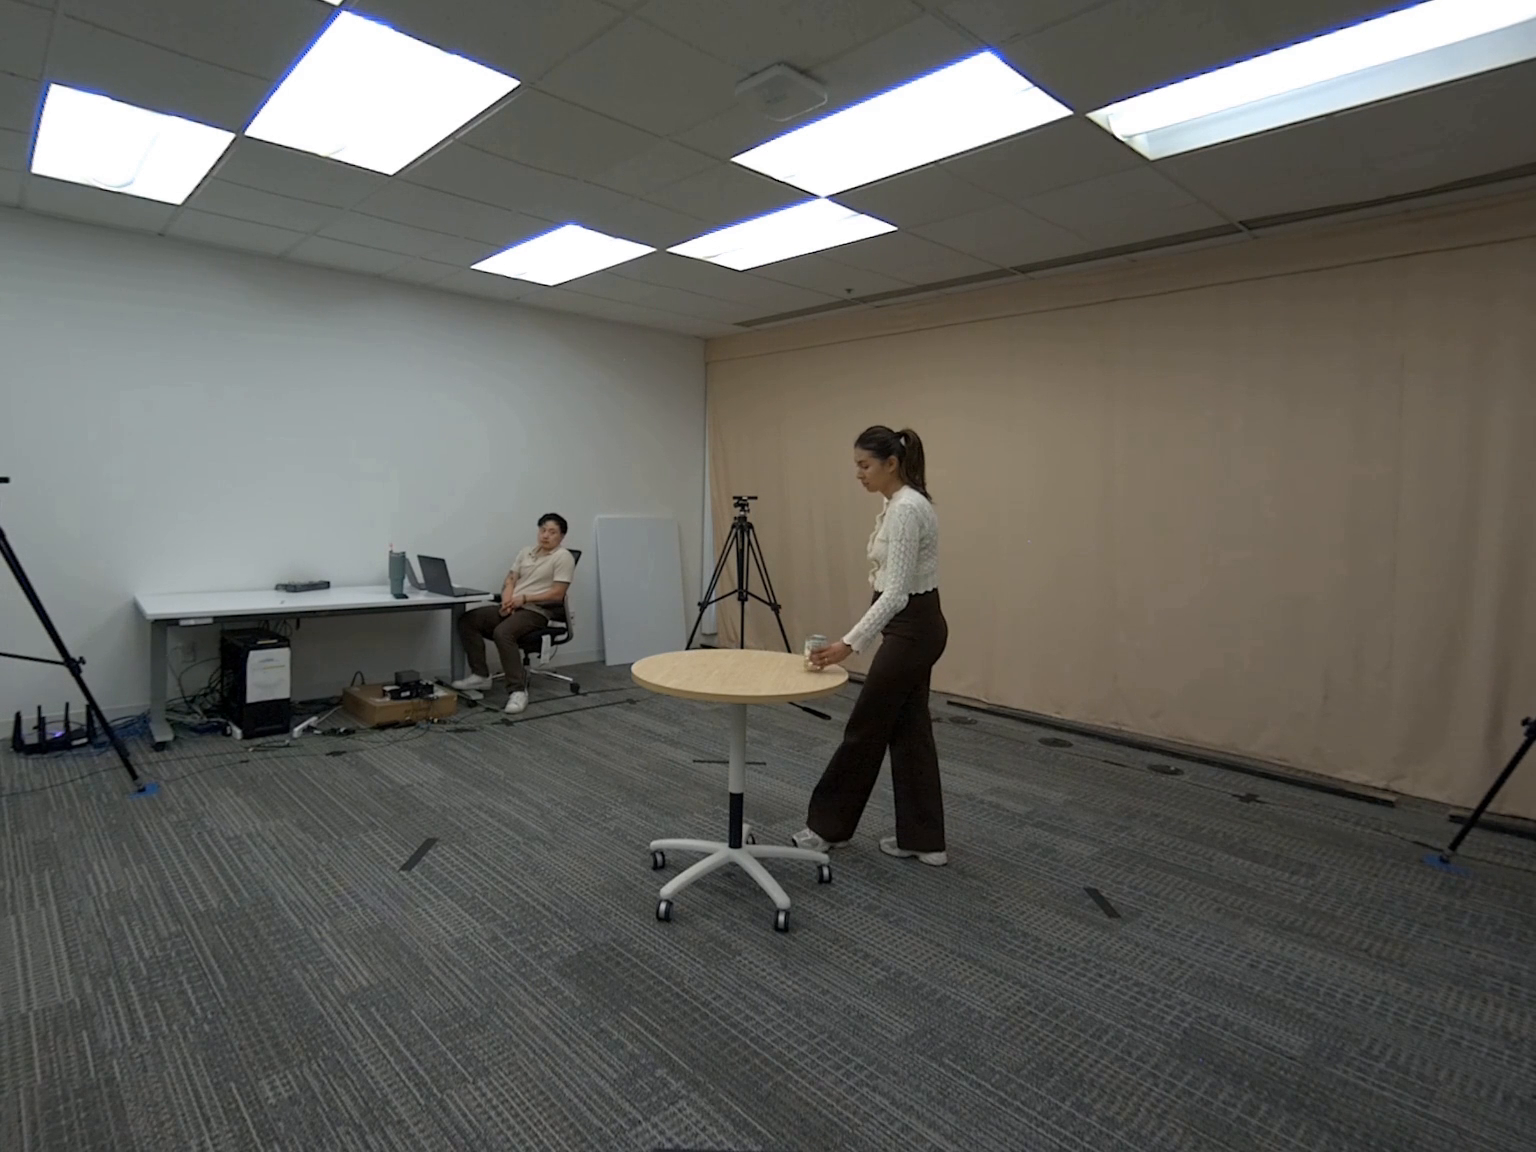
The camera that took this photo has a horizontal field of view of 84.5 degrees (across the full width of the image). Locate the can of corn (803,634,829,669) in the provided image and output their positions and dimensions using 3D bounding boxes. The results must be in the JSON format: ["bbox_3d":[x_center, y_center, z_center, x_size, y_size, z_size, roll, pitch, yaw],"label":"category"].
[{"bbox_3d":[0.154,0.271,2.974,0.074,0.110,0.074,4,7,-2],"label":"can of corn"}]
